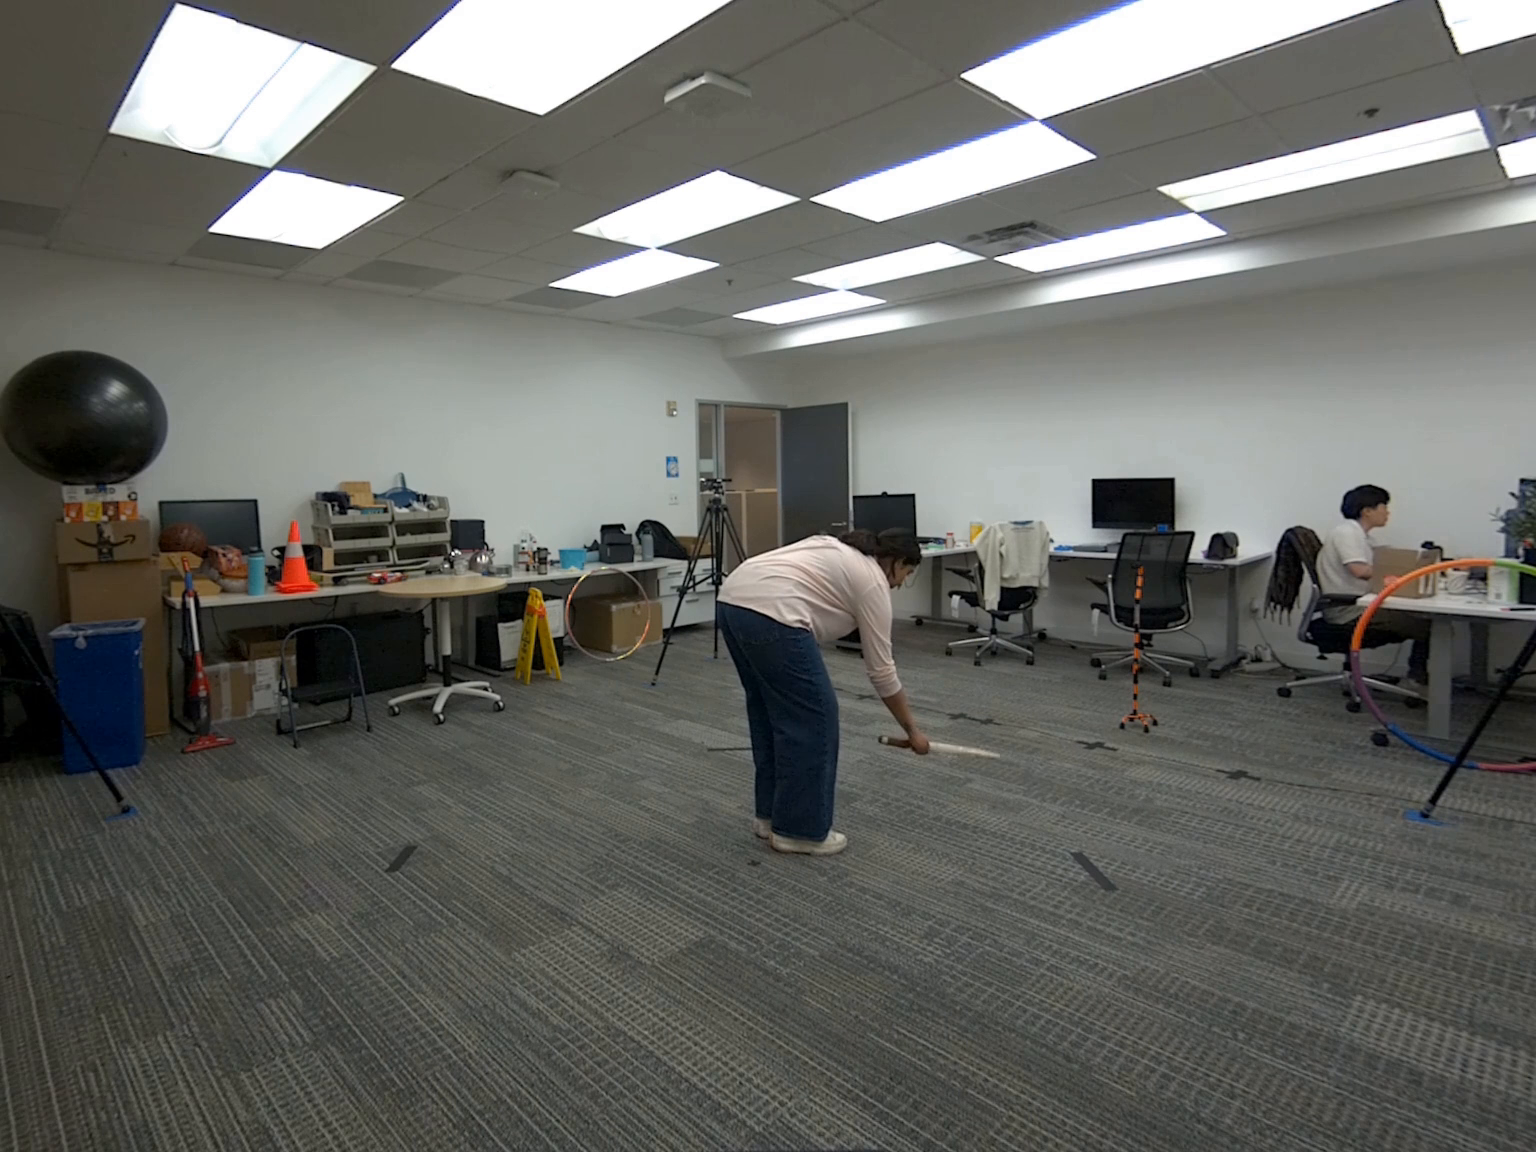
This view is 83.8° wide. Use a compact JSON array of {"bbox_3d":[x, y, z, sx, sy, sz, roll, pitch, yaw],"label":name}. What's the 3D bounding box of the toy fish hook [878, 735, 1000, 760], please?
[{"bbox_3d":[0.673,0.669,3.359,0.495,0.049,0.227,12,-14,-21],"label":"toy fish hook"}]
